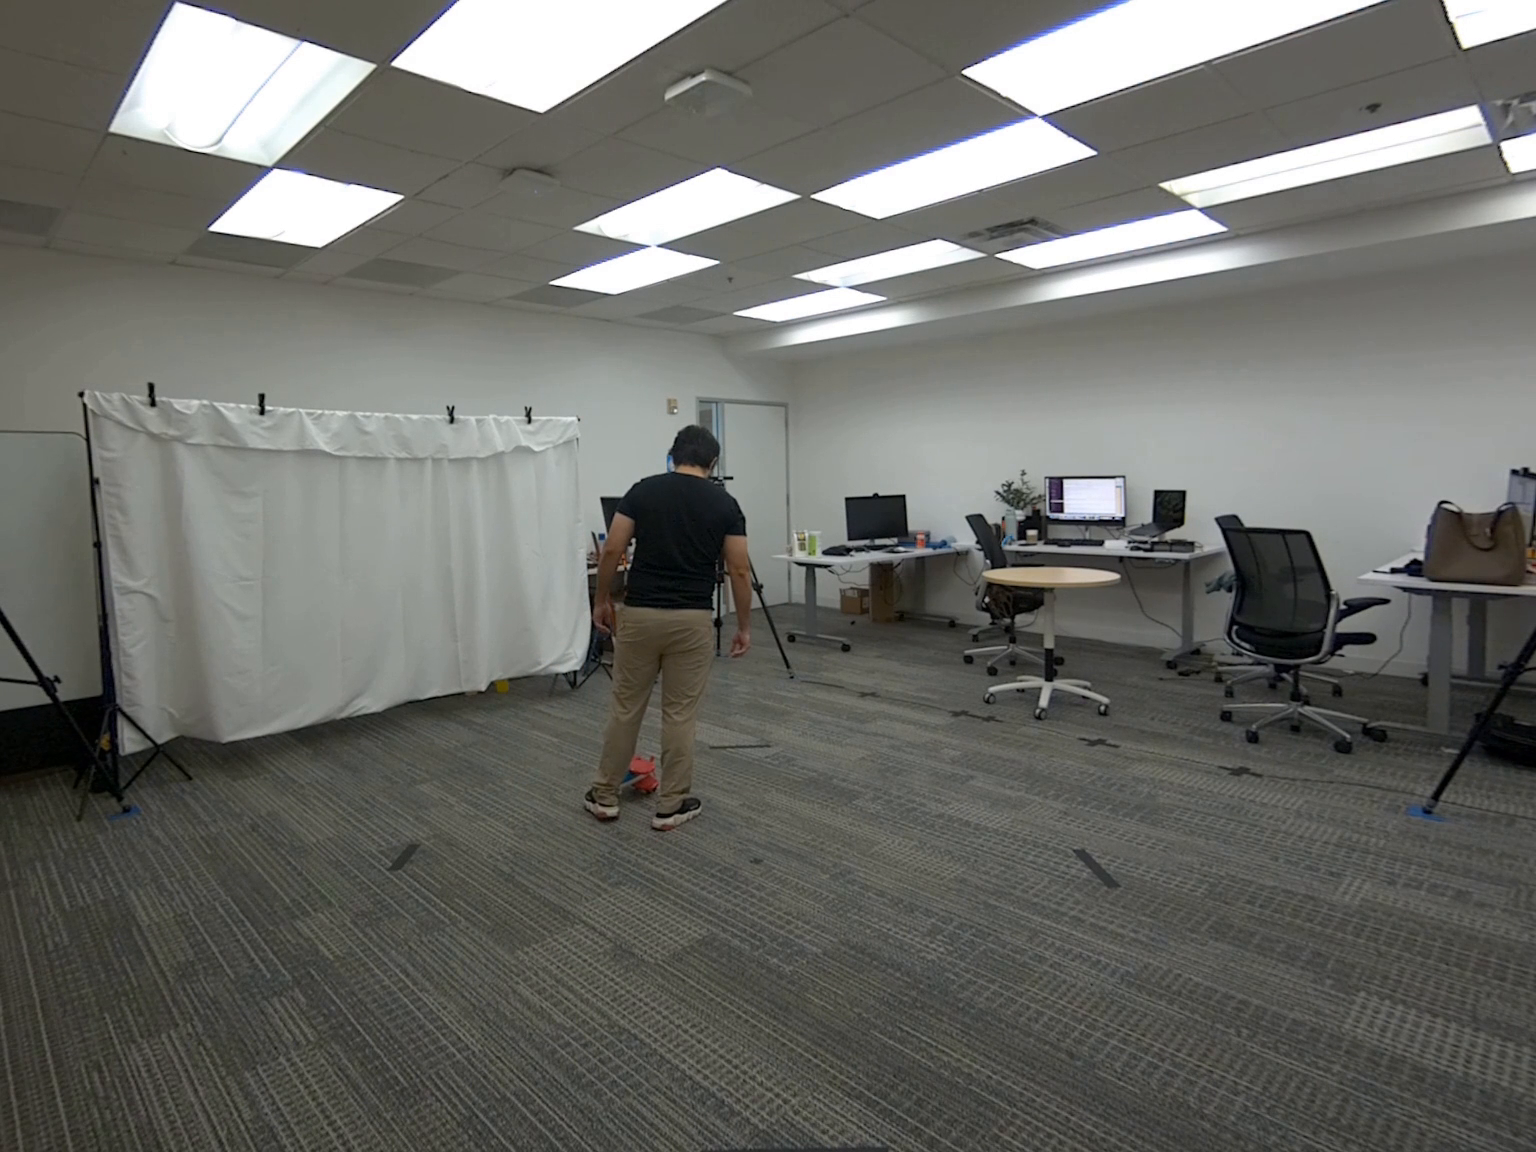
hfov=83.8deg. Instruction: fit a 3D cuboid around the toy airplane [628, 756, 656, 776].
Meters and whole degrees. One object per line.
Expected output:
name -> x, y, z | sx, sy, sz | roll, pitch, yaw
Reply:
toy airplane -> -0.596, 0.896, 3.770 | 0.256, 0.156, 0.255 | 0, 4, 18
